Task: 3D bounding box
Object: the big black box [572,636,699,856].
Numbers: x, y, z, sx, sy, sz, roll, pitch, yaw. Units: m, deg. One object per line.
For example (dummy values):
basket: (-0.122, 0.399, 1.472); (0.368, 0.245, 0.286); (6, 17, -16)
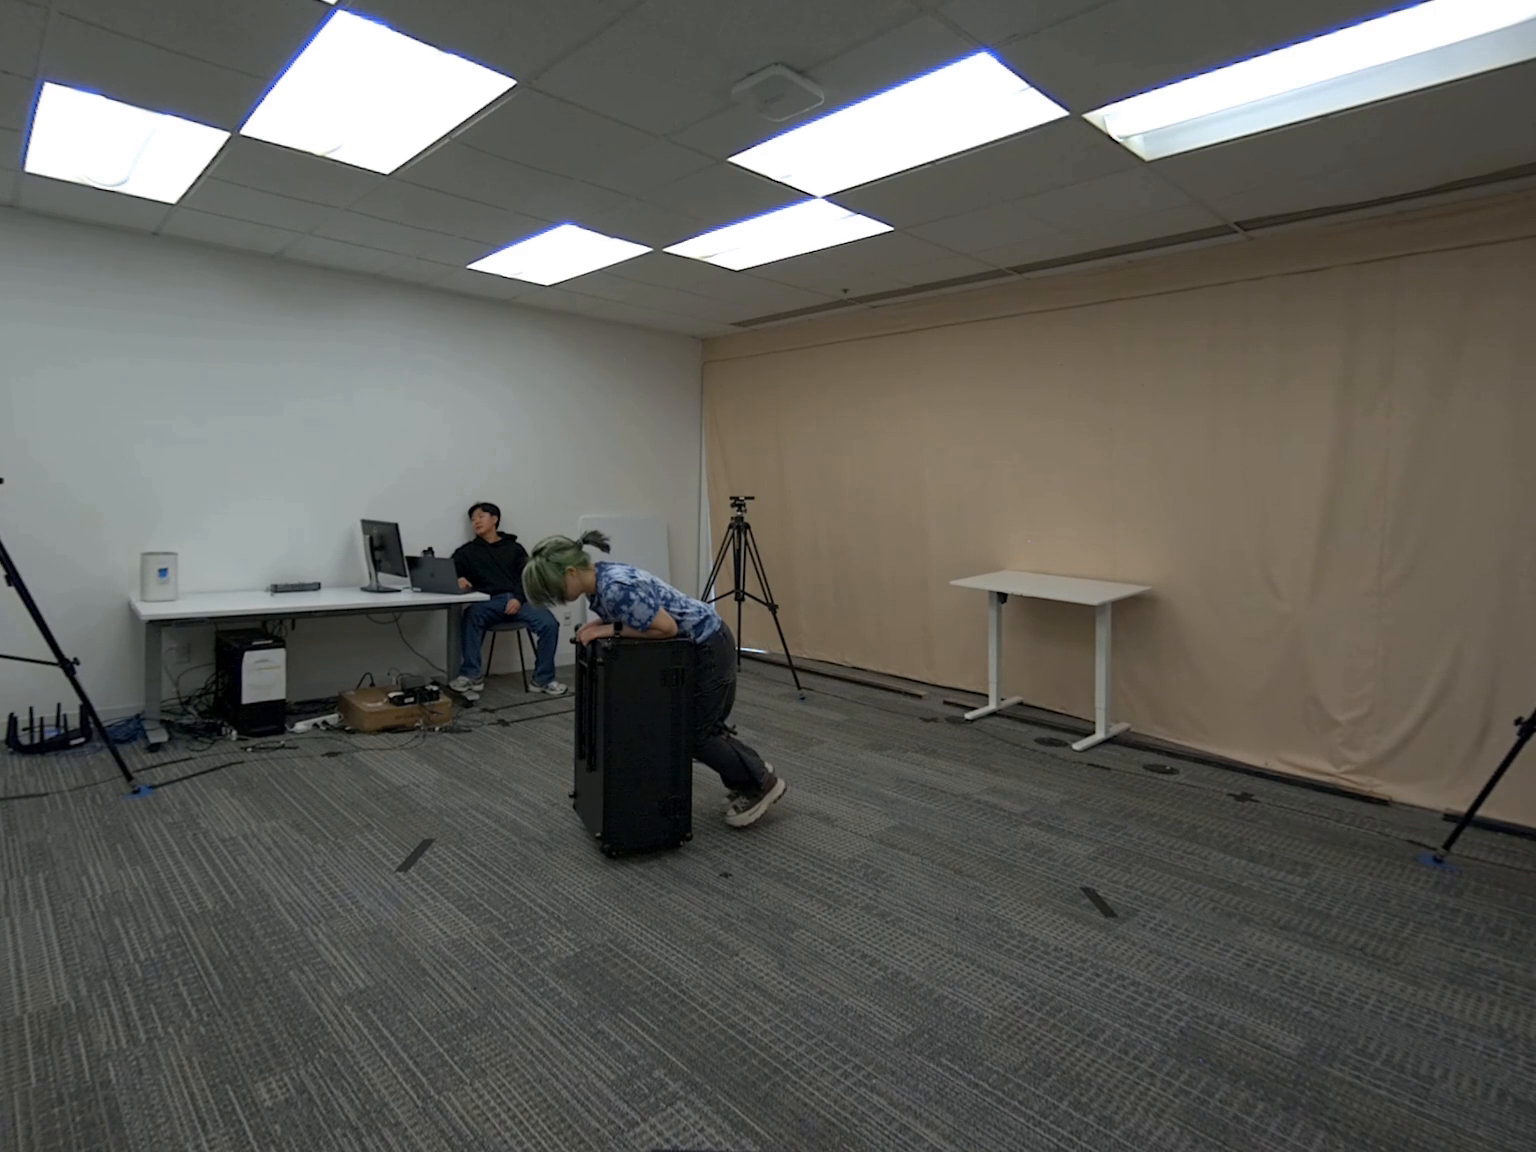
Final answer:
big black box: (-0.568, 0.594, 3.361); (0.389, 0.859, 0.532); (0, 4, -25)
